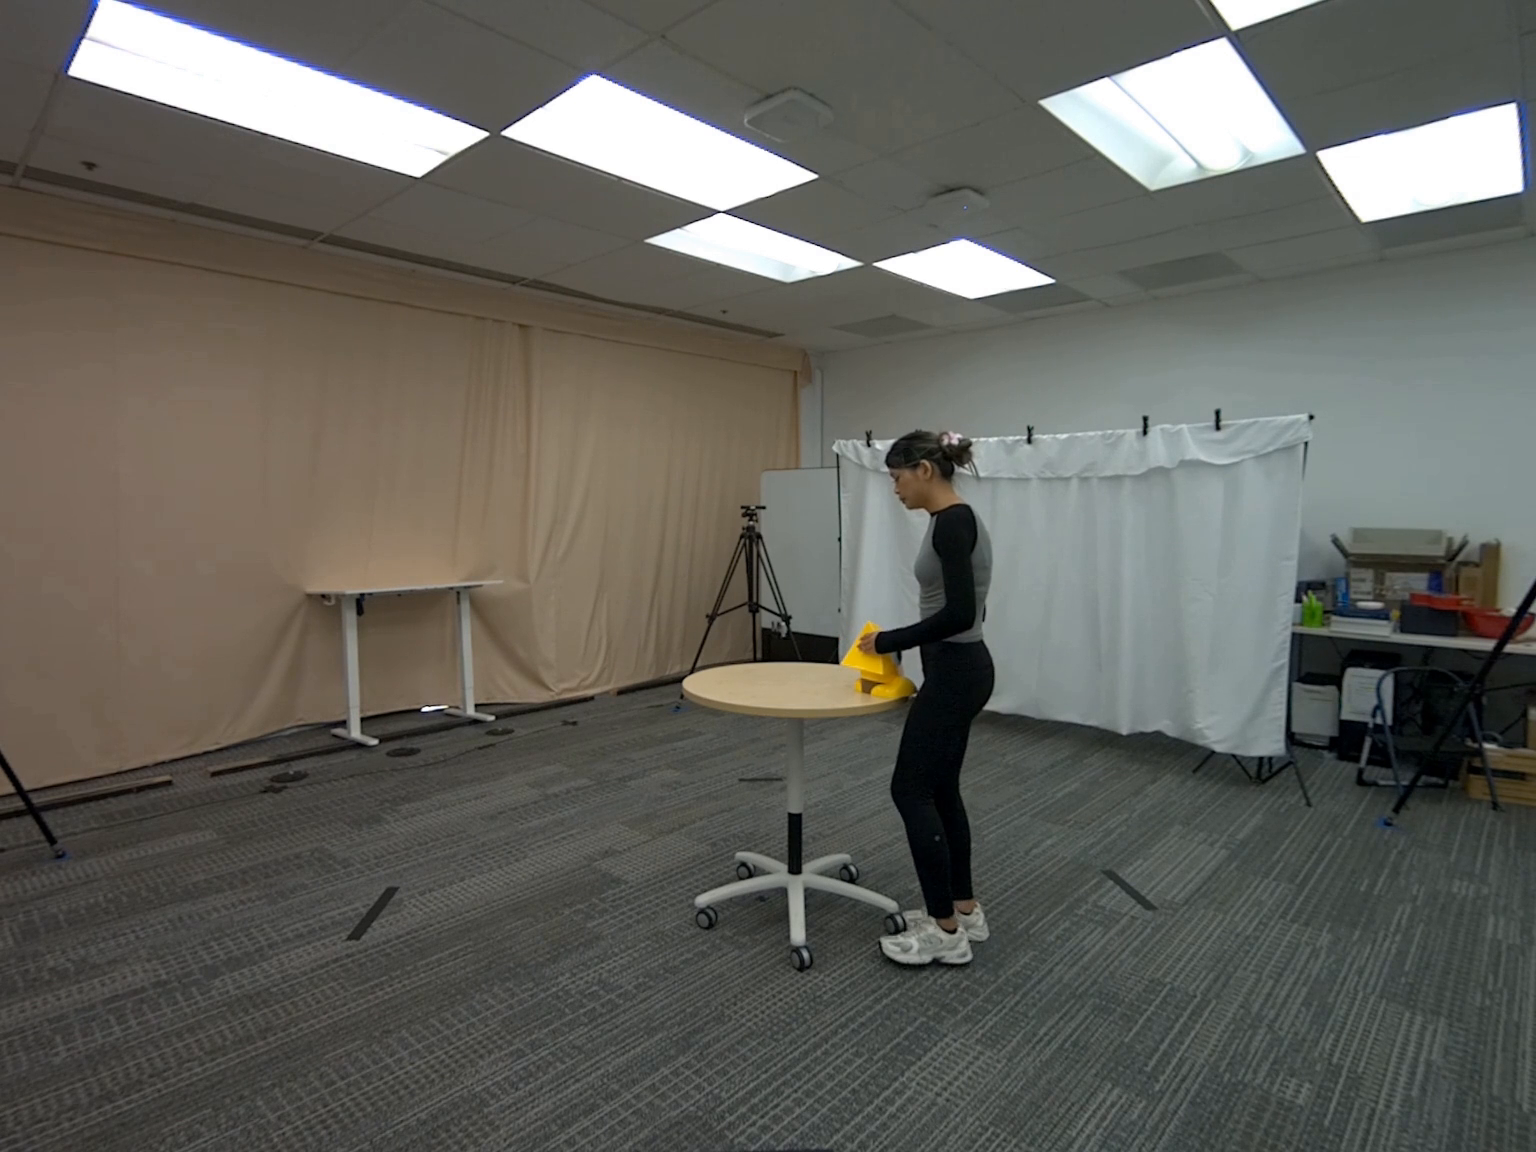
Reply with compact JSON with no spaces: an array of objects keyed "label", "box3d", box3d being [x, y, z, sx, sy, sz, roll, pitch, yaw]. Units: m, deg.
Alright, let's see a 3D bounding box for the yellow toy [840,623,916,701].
[{"label":"yellow toy","box3d":[0.382,0.261,2.712,0.188,0.230,0.211,-2,3,-32]}]
